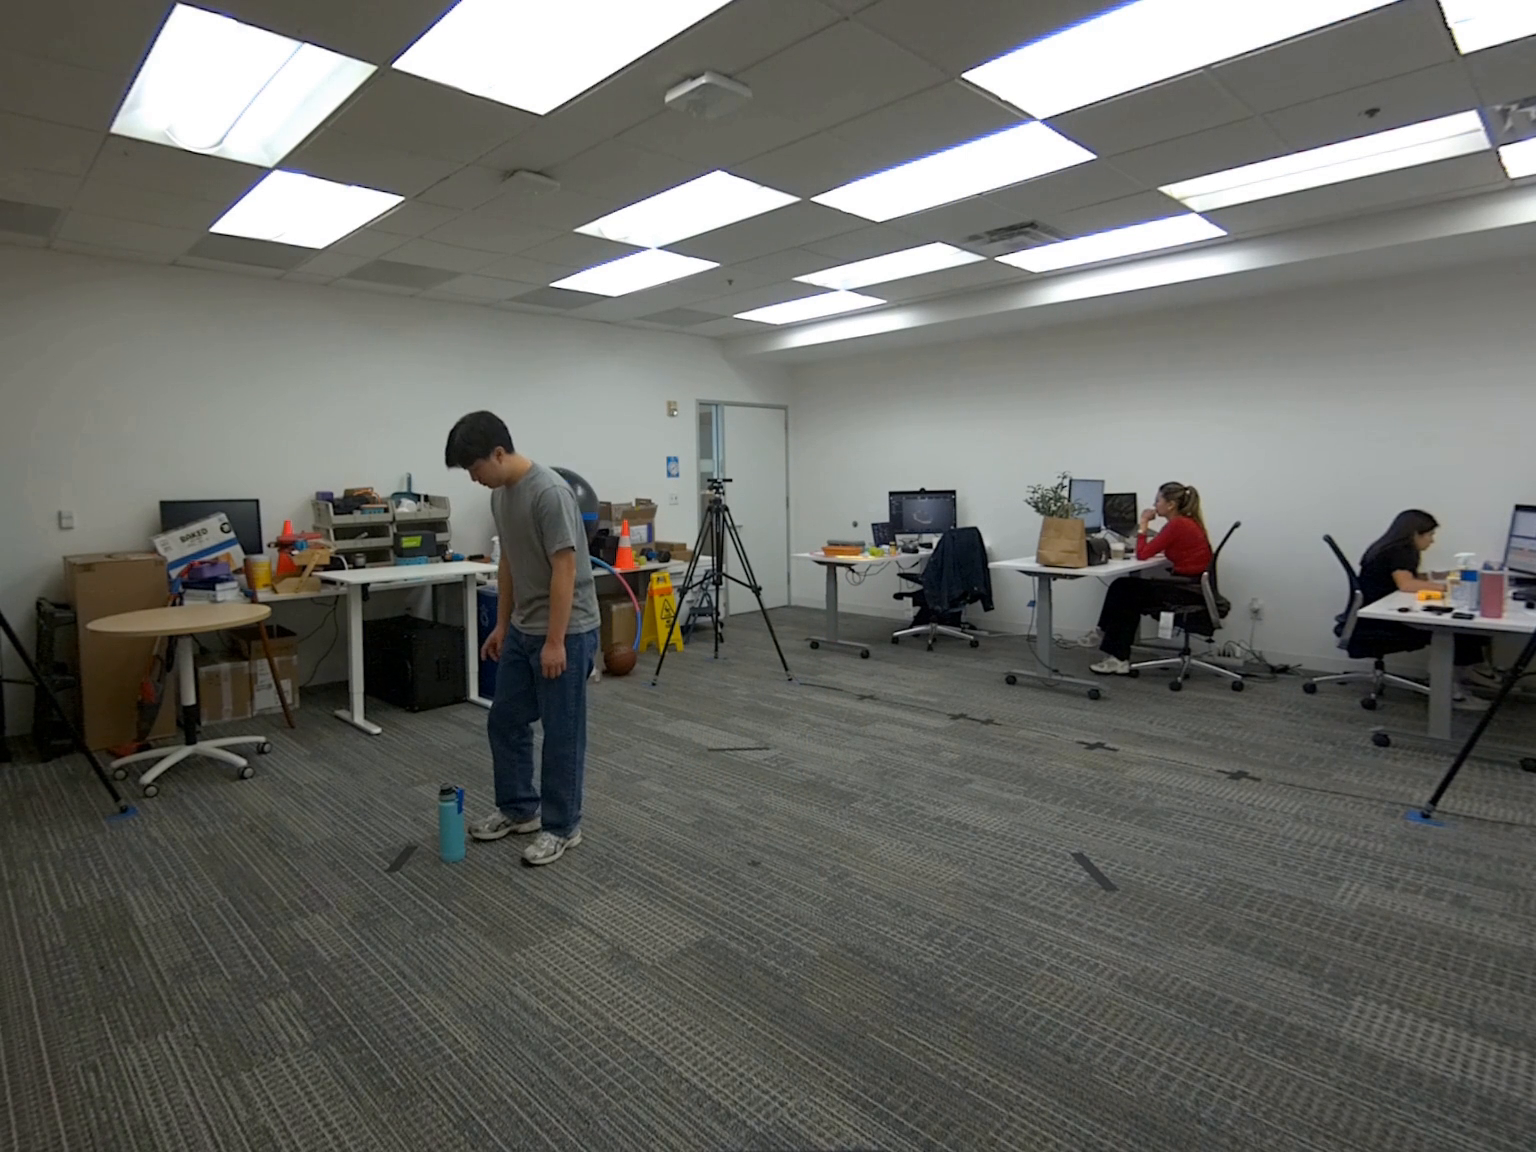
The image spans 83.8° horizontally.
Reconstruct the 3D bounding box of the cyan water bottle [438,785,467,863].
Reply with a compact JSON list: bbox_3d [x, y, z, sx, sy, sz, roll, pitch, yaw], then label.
[{"bbox_3d":[-1.185,0.920,3.201,0.092,0.282,0.093,-1,4,-2],"label":"cyan water bottle"}]
